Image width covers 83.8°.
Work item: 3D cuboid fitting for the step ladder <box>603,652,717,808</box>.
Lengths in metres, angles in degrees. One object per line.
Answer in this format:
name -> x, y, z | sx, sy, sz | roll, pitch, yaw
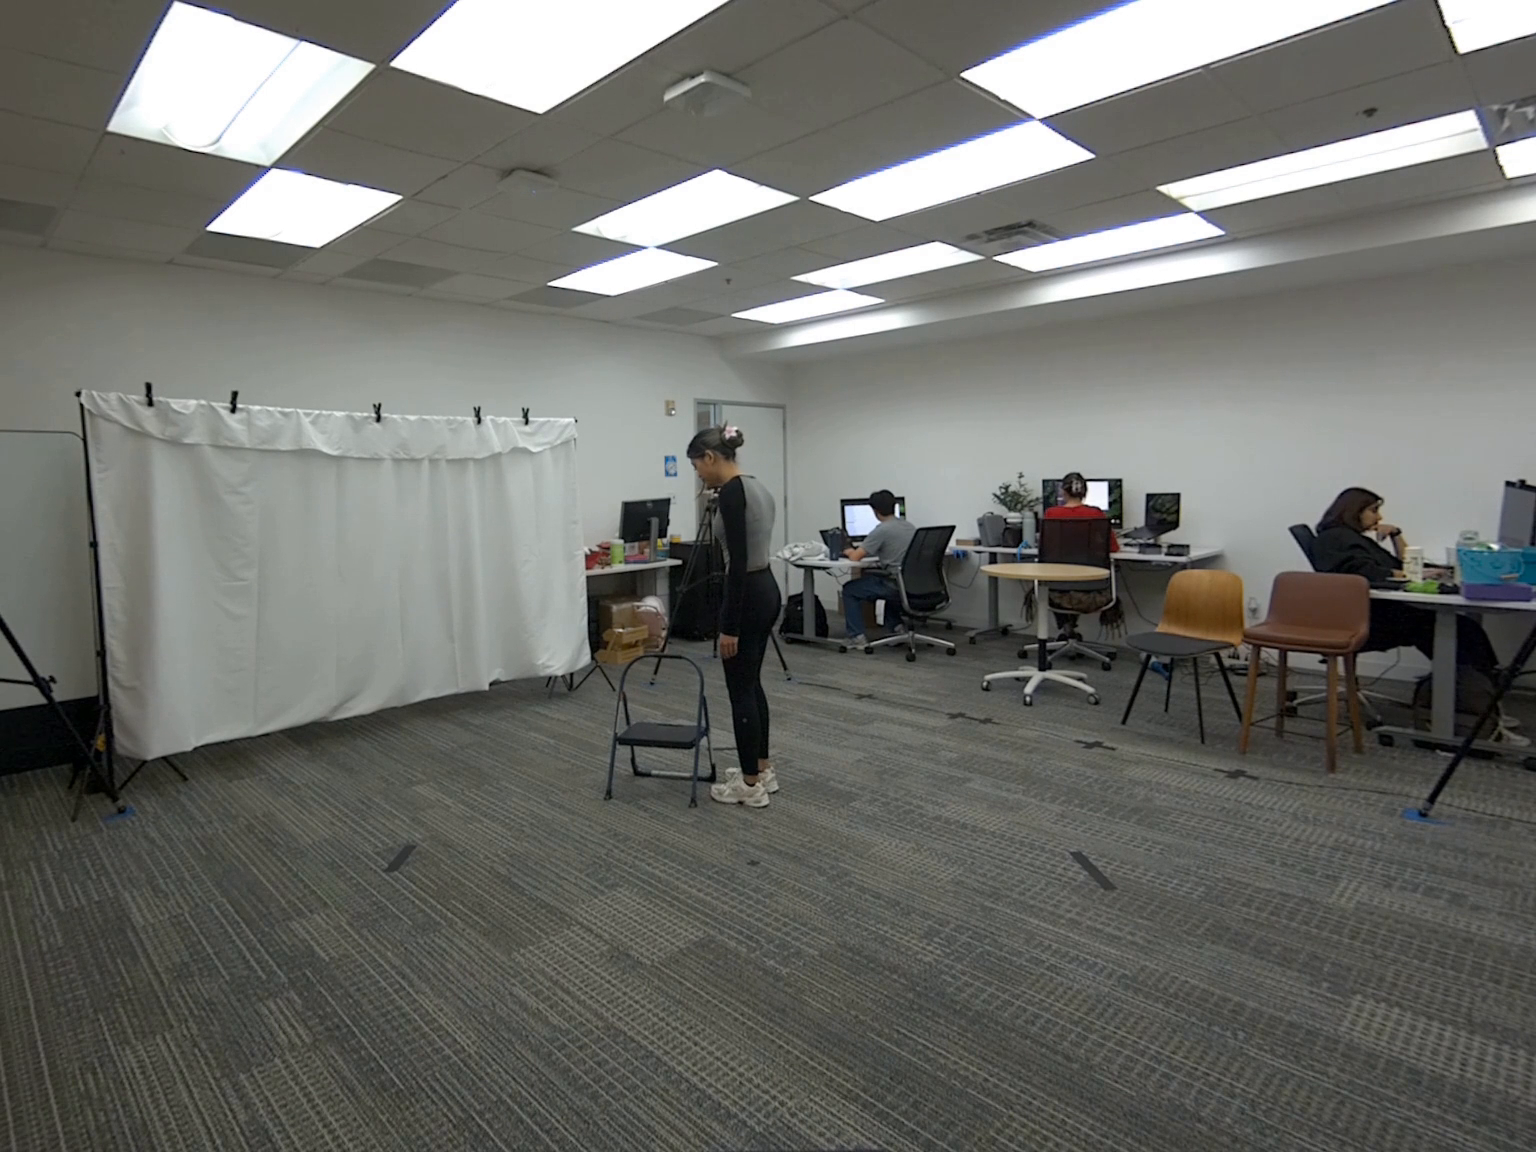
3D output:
step ladder -> -0.484, 0.670, 3.850 | 0.437, 0.604, 0.345 | -1, 4, 15
